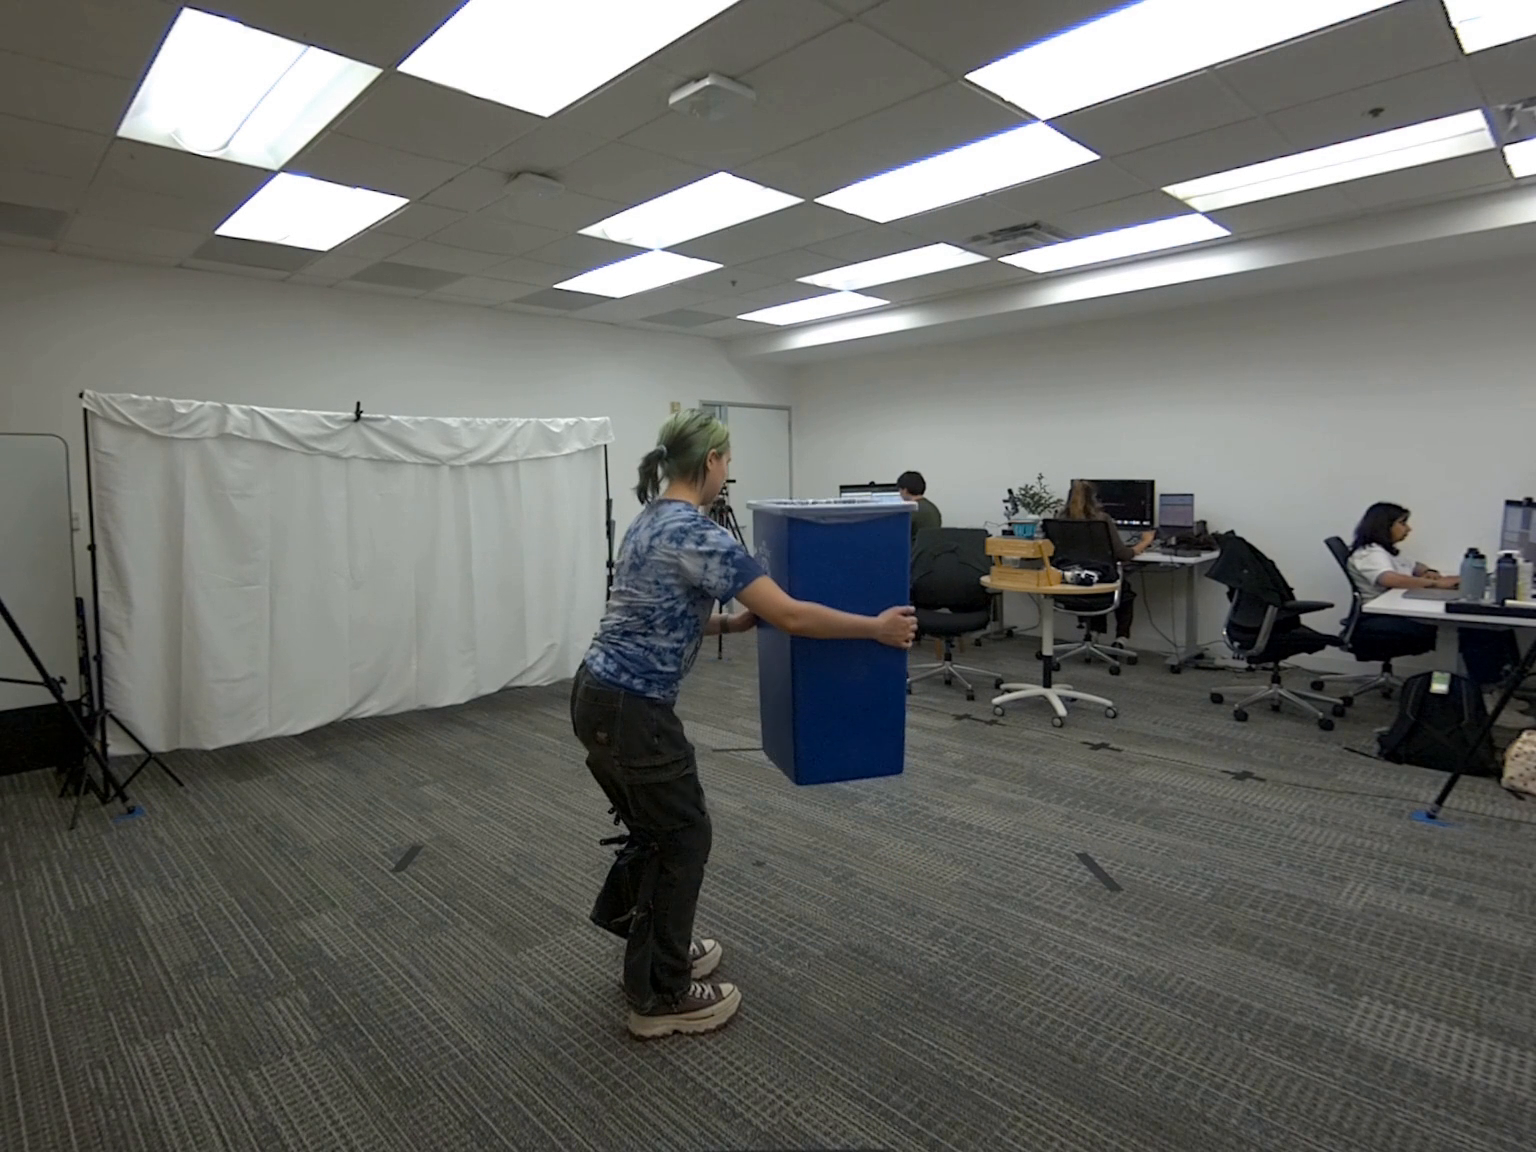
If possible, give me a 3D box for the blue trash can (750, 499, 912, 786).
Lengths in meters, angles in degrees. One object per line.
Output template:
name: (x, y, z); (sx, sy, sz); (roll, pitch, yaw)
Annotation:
blue trash can: (0.167, 0.162, 2.303); (0.373, 0.711, 0.380); (-3, 4, -14)
